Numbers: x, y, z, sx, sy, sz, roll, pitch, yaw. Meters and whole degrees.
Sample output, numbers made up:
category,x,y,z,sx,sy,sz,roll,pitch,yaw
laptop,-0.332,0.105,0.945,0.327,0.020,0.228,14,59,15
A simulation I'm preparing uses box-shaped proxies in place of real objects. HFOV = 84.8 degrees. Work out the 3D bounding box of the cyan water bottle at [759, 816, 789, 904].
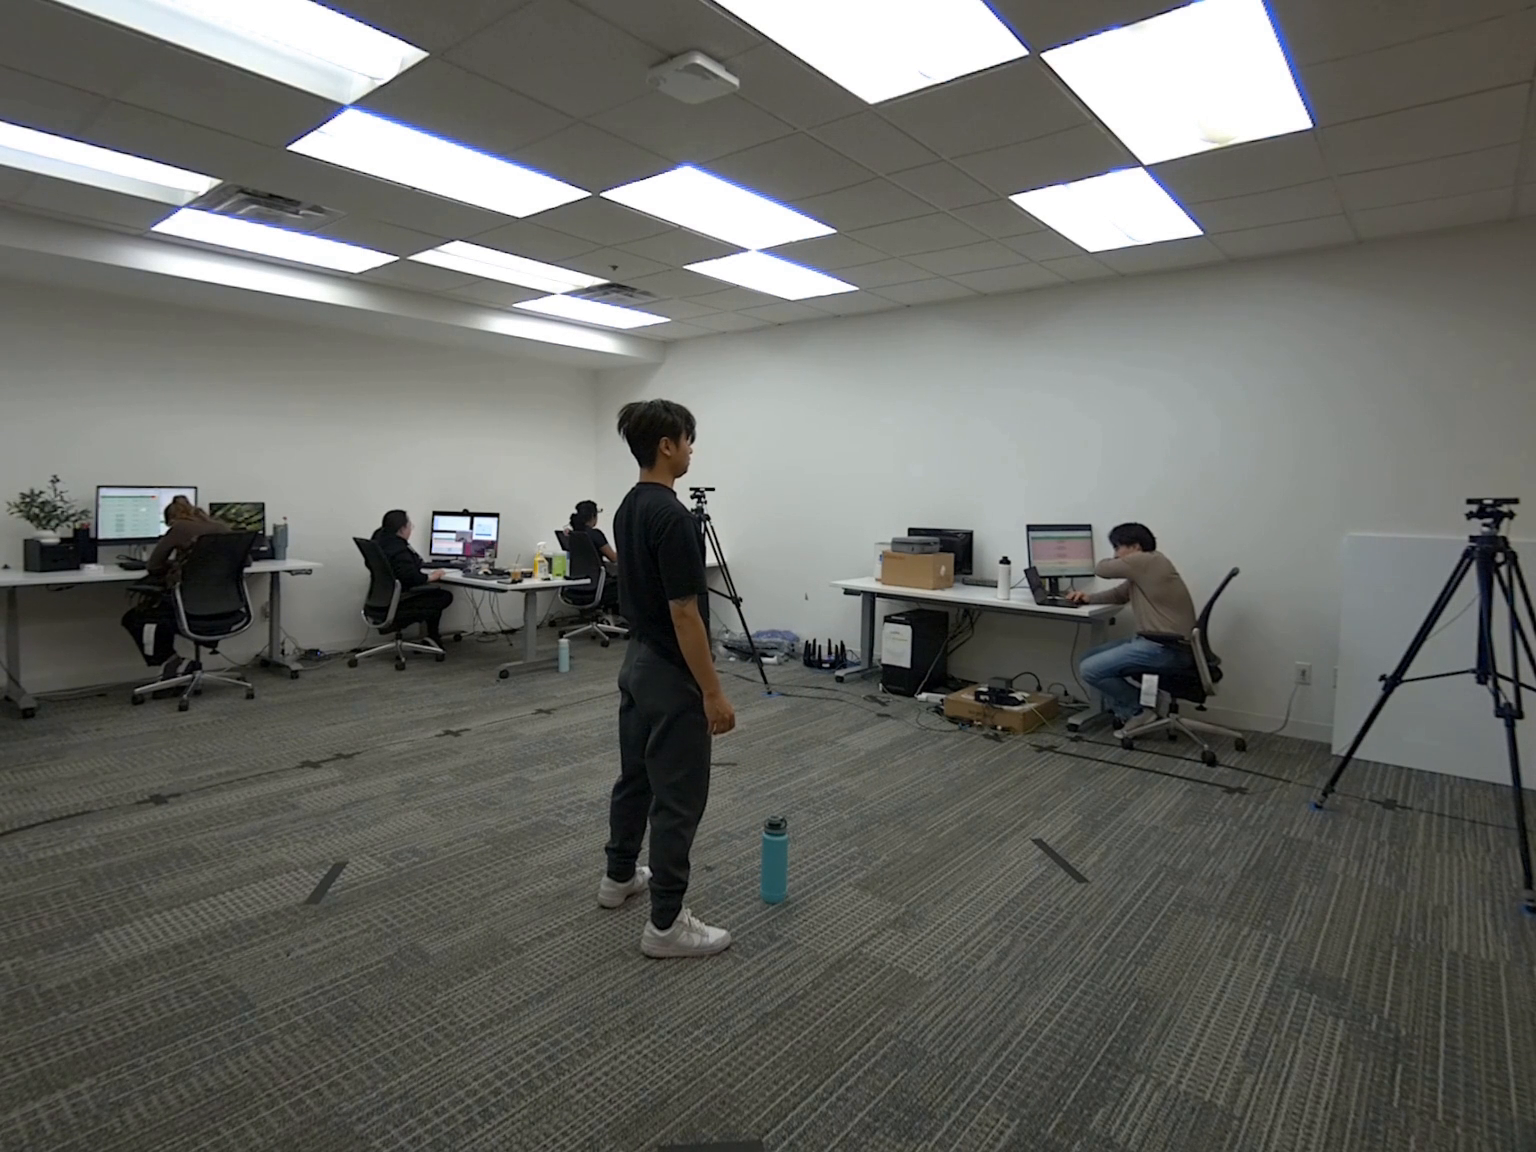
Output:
category,x,y,z,sx,sy,sz,roll,pitch,yaw
cyan water bottle,0.011,0.960,2.886,0.092,0.282,0.093,1,3,-2
